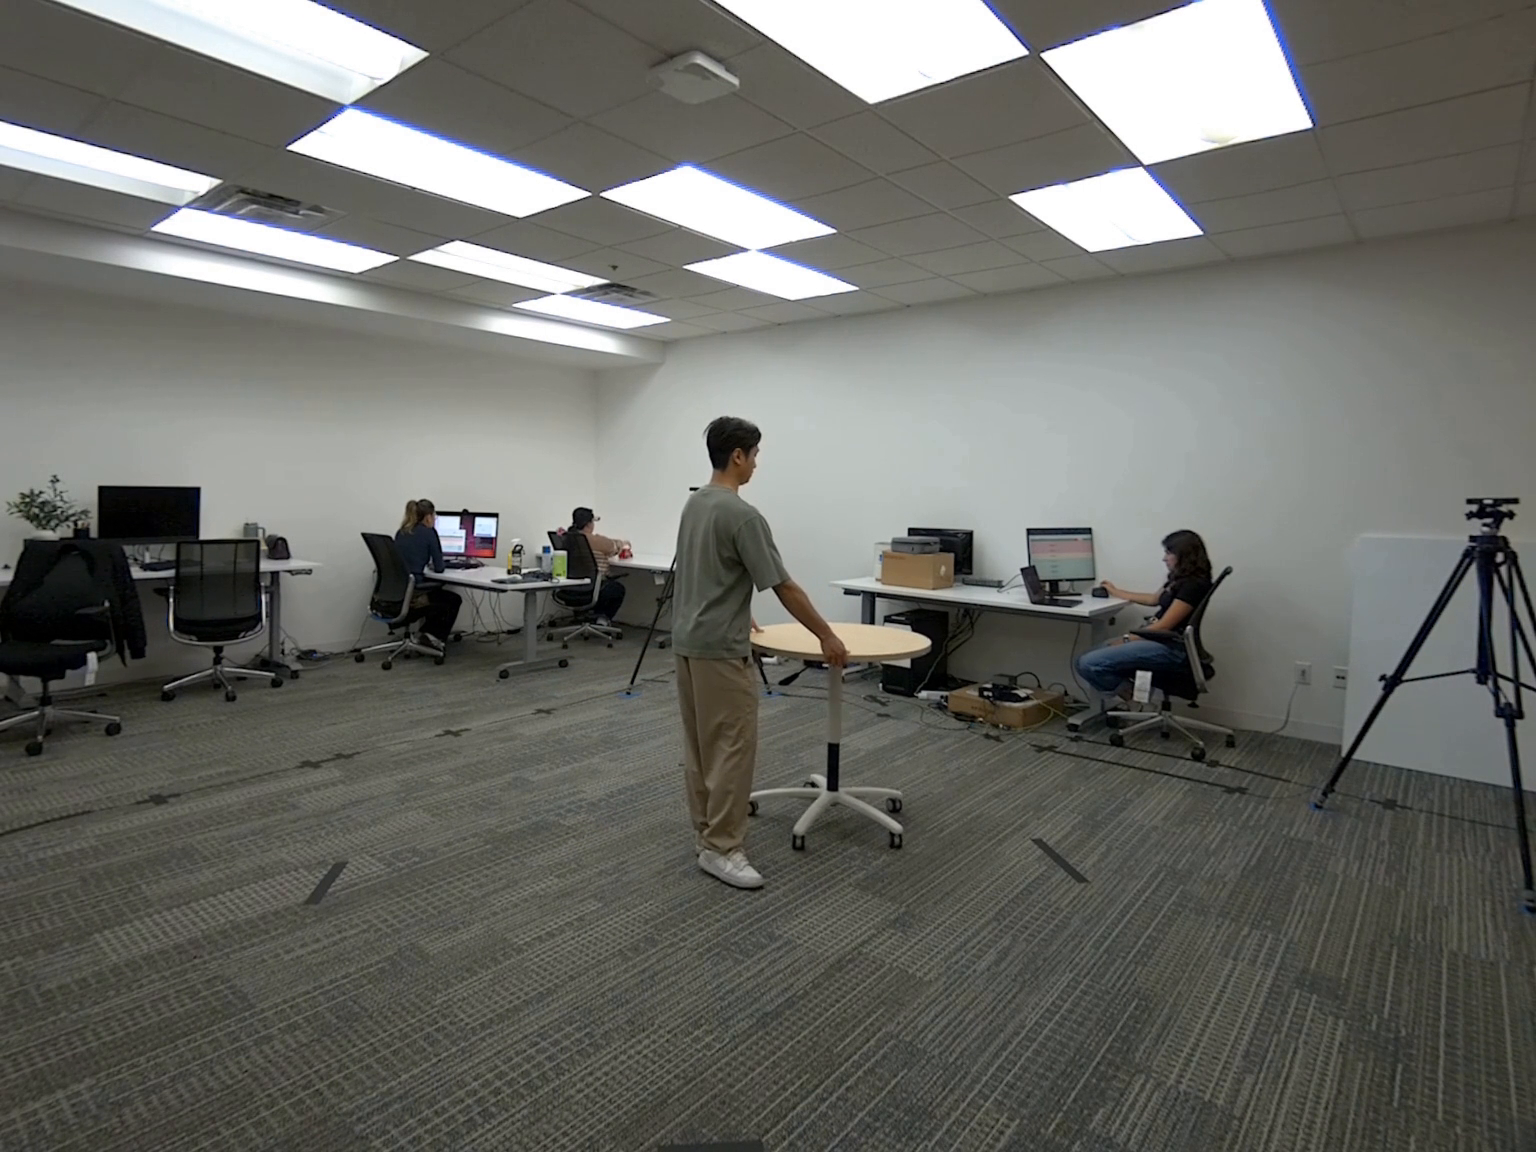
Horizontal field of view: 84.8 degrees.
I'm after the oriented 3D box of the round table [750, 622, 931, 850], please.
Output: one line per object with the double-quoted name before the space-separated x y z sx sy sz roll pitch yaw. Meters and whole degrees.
"round table" 0.275 0.640 3.551 0.784 0.783 0.789 0 5 -2
